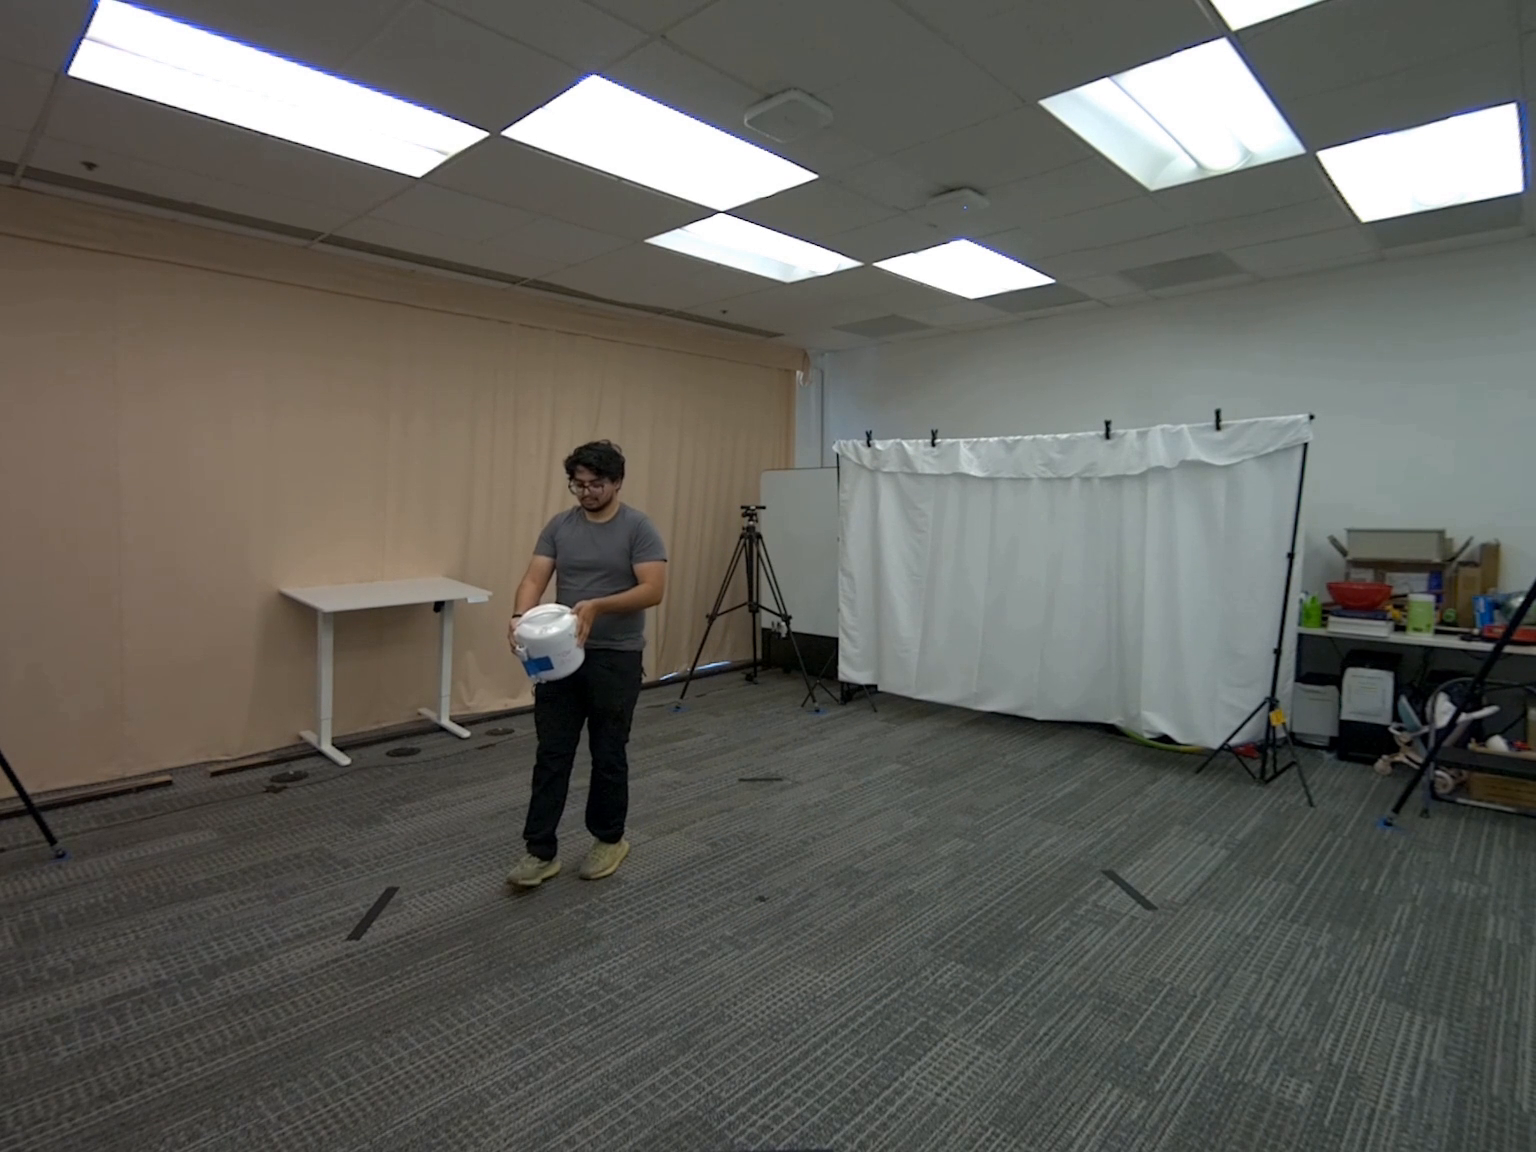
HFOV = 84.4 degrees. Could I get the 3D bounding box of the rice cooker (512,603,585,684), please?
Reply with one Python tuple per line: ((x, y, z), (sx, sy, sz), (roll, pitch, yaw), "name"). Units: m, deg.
((-0.746, 0.215, 2.880), (0.219, 0.228, 0.223), (-12, 29, -9), "rice cooker")
